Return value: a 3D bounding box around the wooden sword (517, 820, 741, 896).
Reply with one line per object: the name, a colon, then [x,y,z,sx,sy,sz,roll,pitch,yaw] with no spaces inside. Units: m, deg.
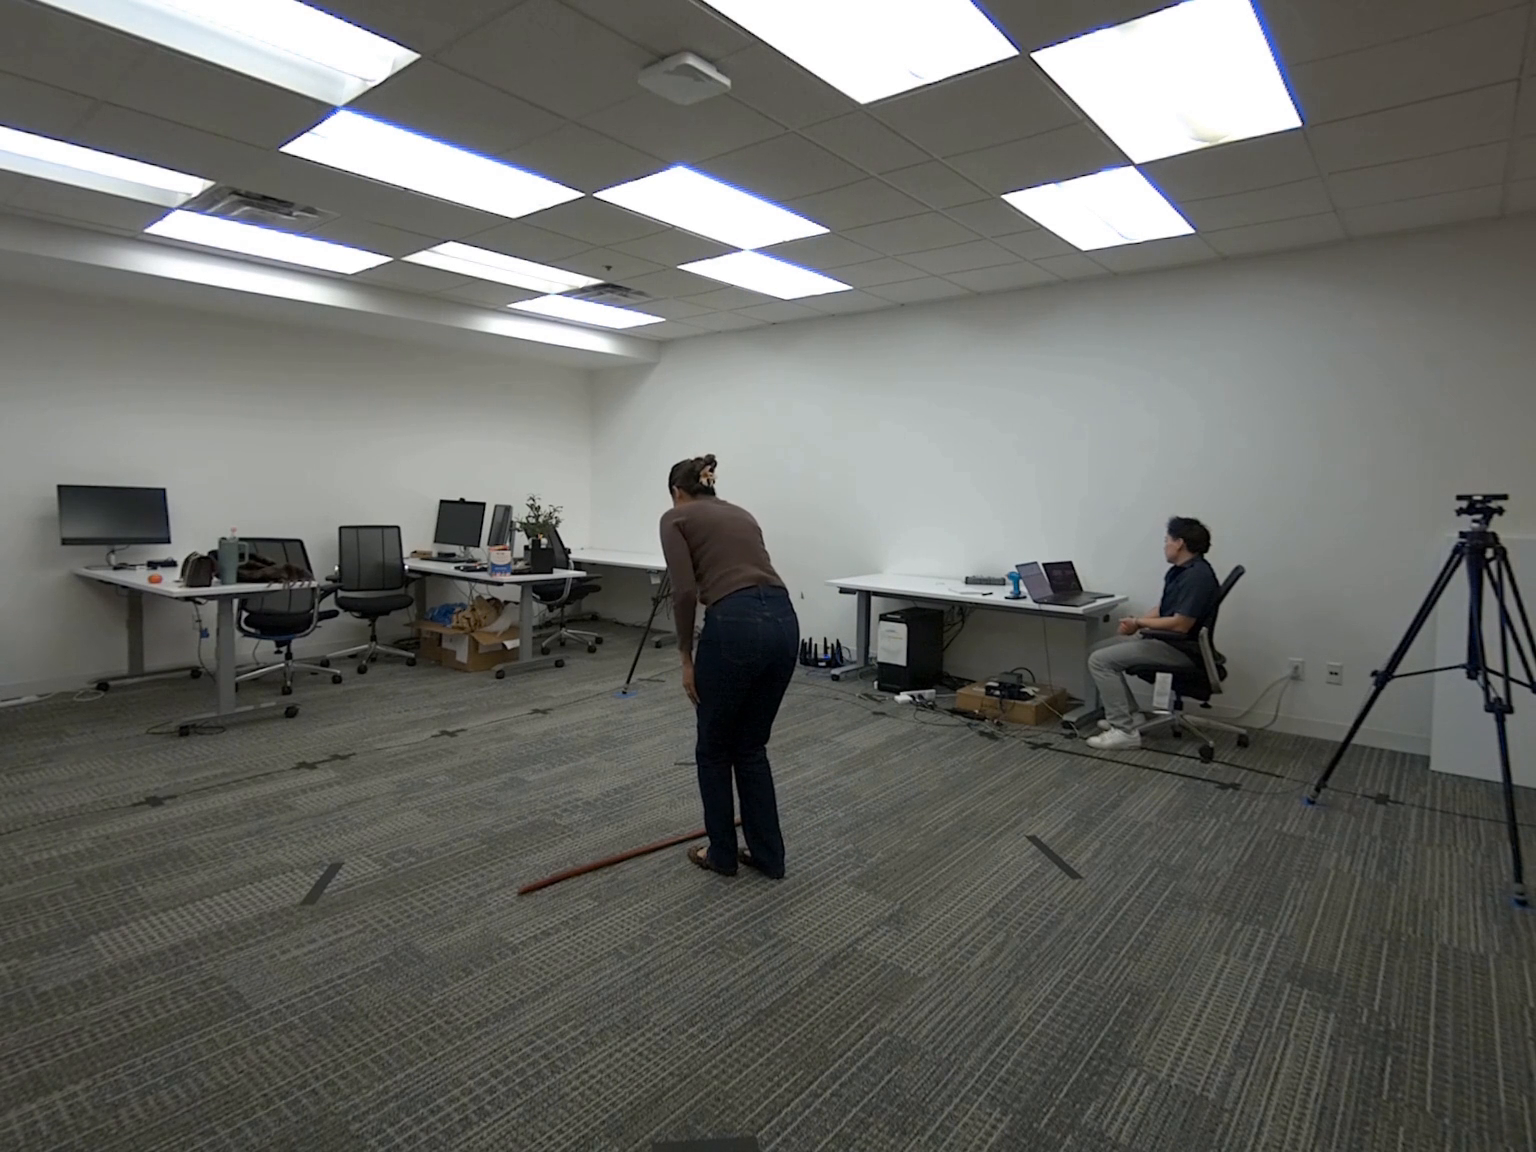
wooden sword: [-0.482,1.030,3.205,0.995,0.025,0.051,-5,-37,-41]
